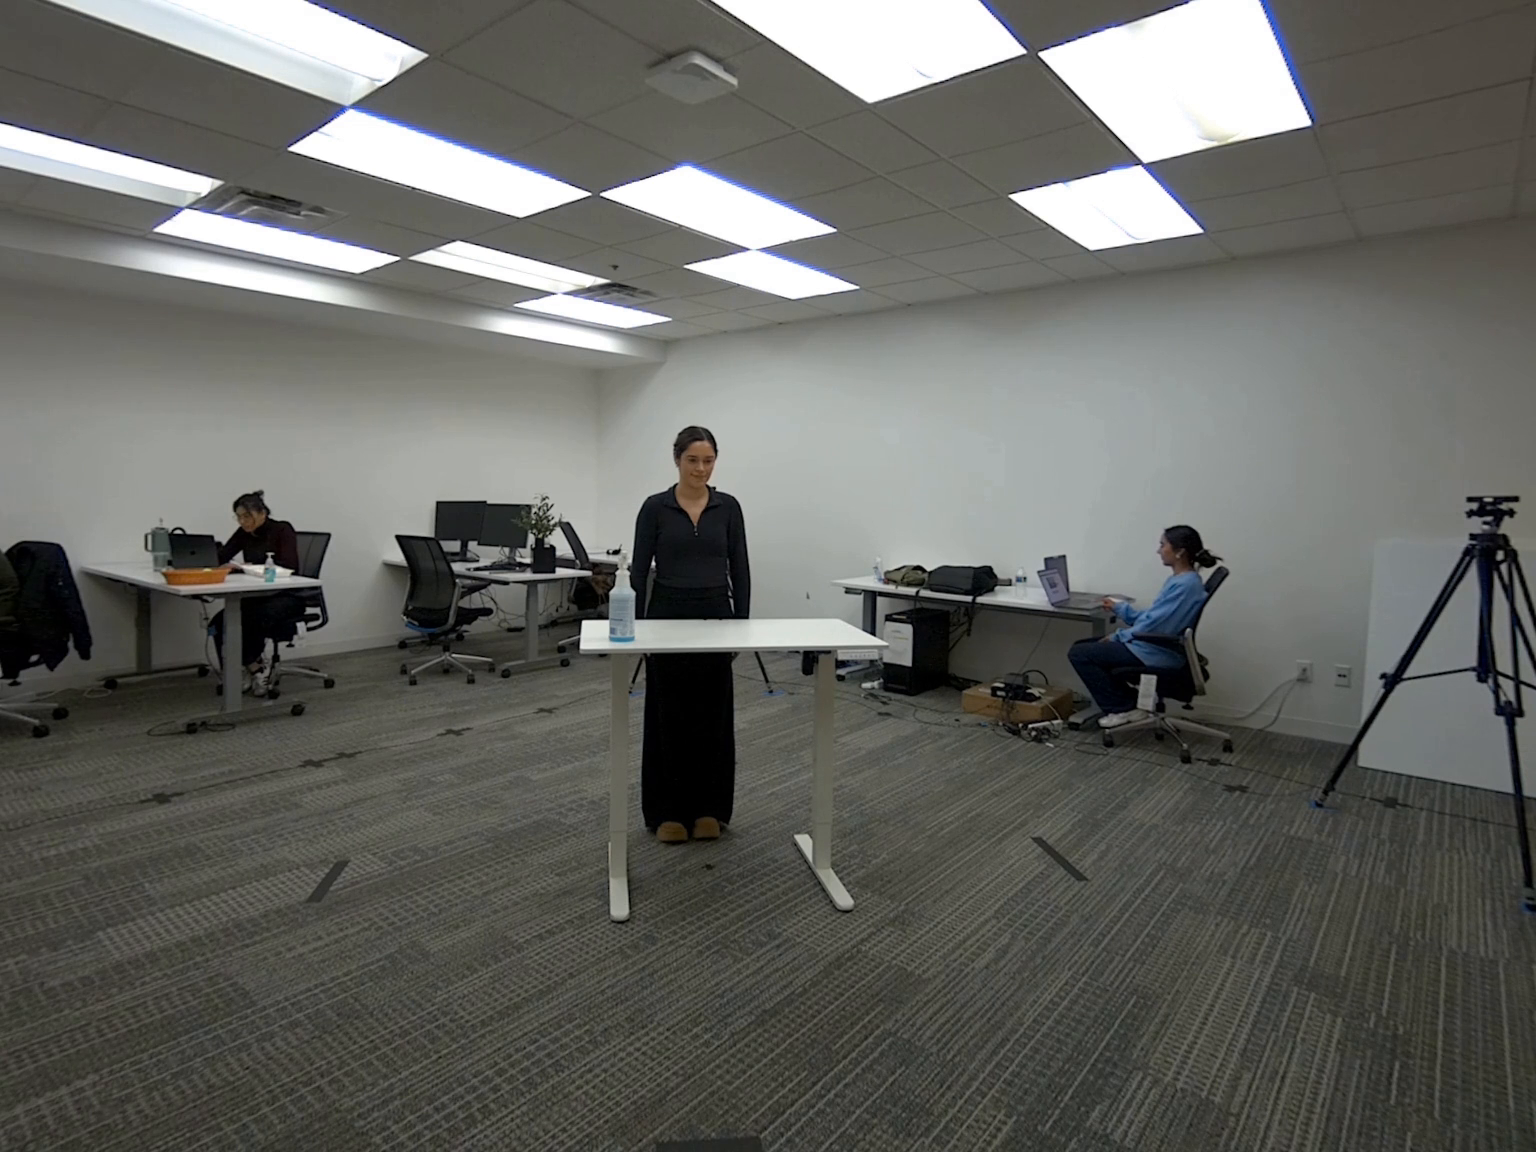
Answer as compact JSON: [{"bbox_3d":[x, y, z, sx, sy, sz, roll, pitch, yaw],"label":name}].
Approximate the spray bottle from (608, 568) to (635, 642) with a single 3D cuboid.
[{"bbox_3d":[-0.501,0.066,2.798,0.088,0.296,0.089,4,4,10],"label":"spray bottle"}]
